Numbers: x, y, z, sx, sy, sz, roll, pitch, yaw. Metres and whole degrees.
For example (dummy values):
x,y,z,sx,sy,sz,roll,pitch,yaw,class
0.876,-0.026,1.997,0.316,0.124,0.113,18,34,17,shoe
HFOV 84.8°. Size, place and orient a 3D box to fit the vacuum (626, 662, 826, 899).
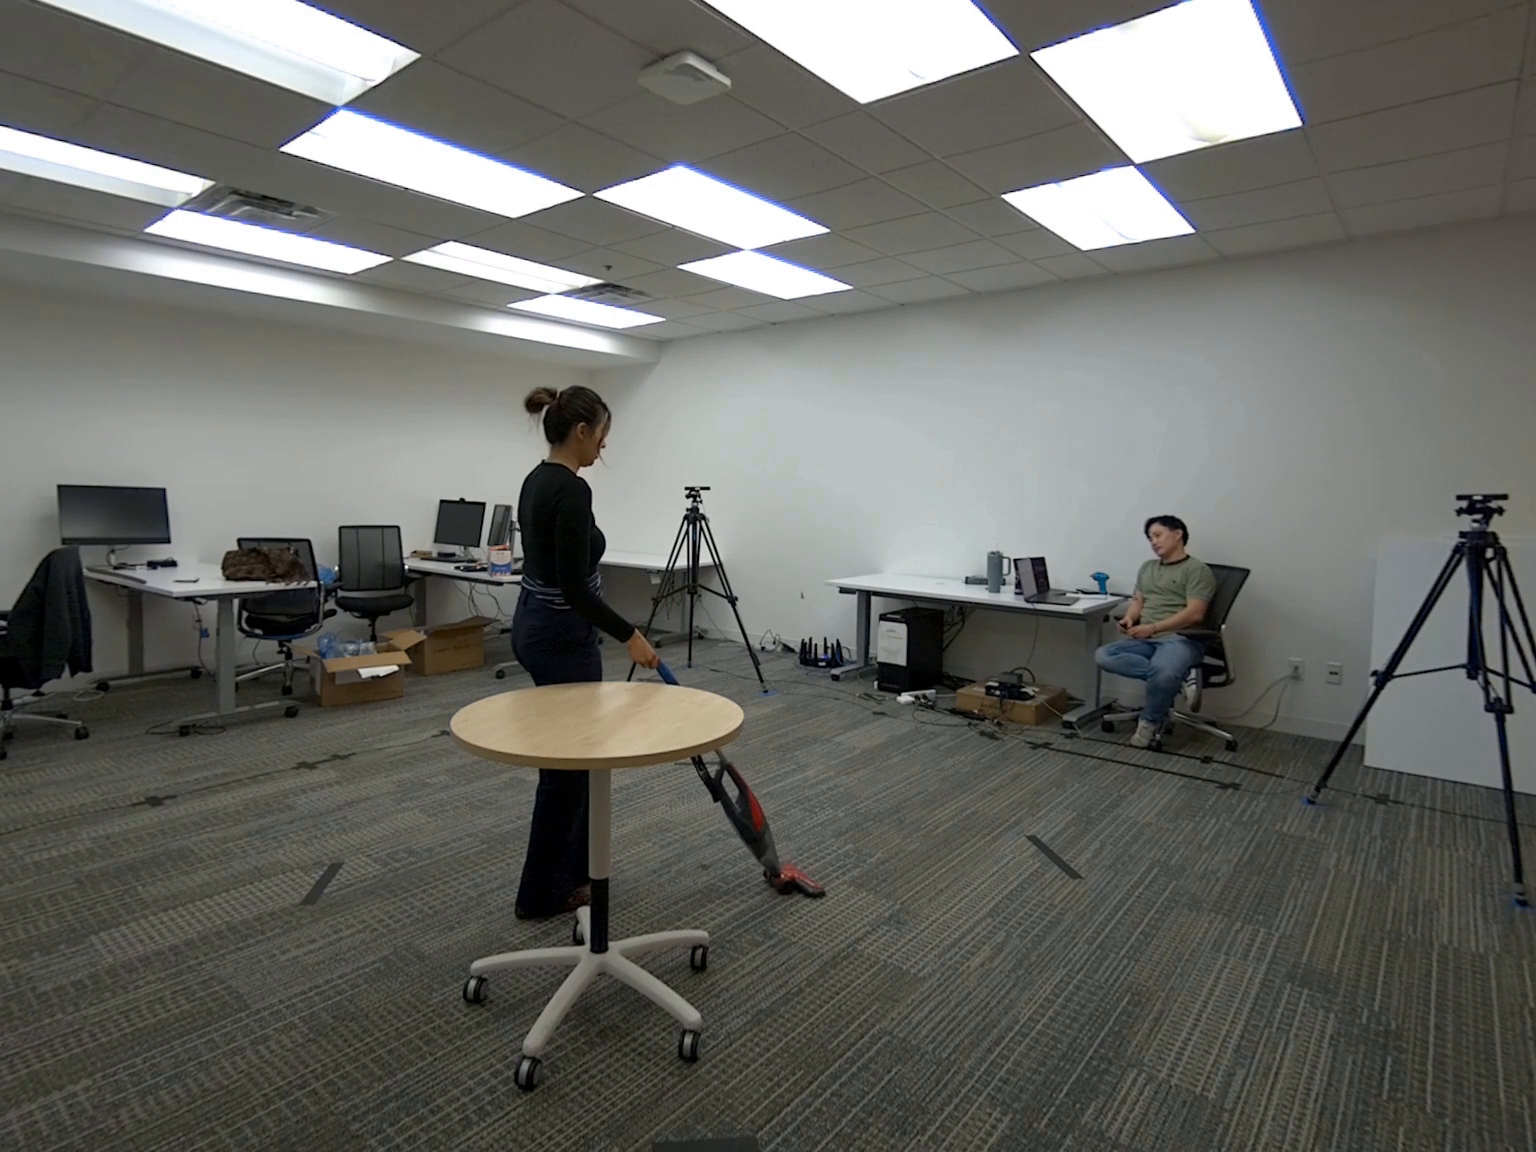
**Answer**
x,y,z,sx,sy,sz,roll,pitch,yaw,class
-0.167,0.656,2.838,0.143,1.025,0.260,-37,19,-22,vacuum
